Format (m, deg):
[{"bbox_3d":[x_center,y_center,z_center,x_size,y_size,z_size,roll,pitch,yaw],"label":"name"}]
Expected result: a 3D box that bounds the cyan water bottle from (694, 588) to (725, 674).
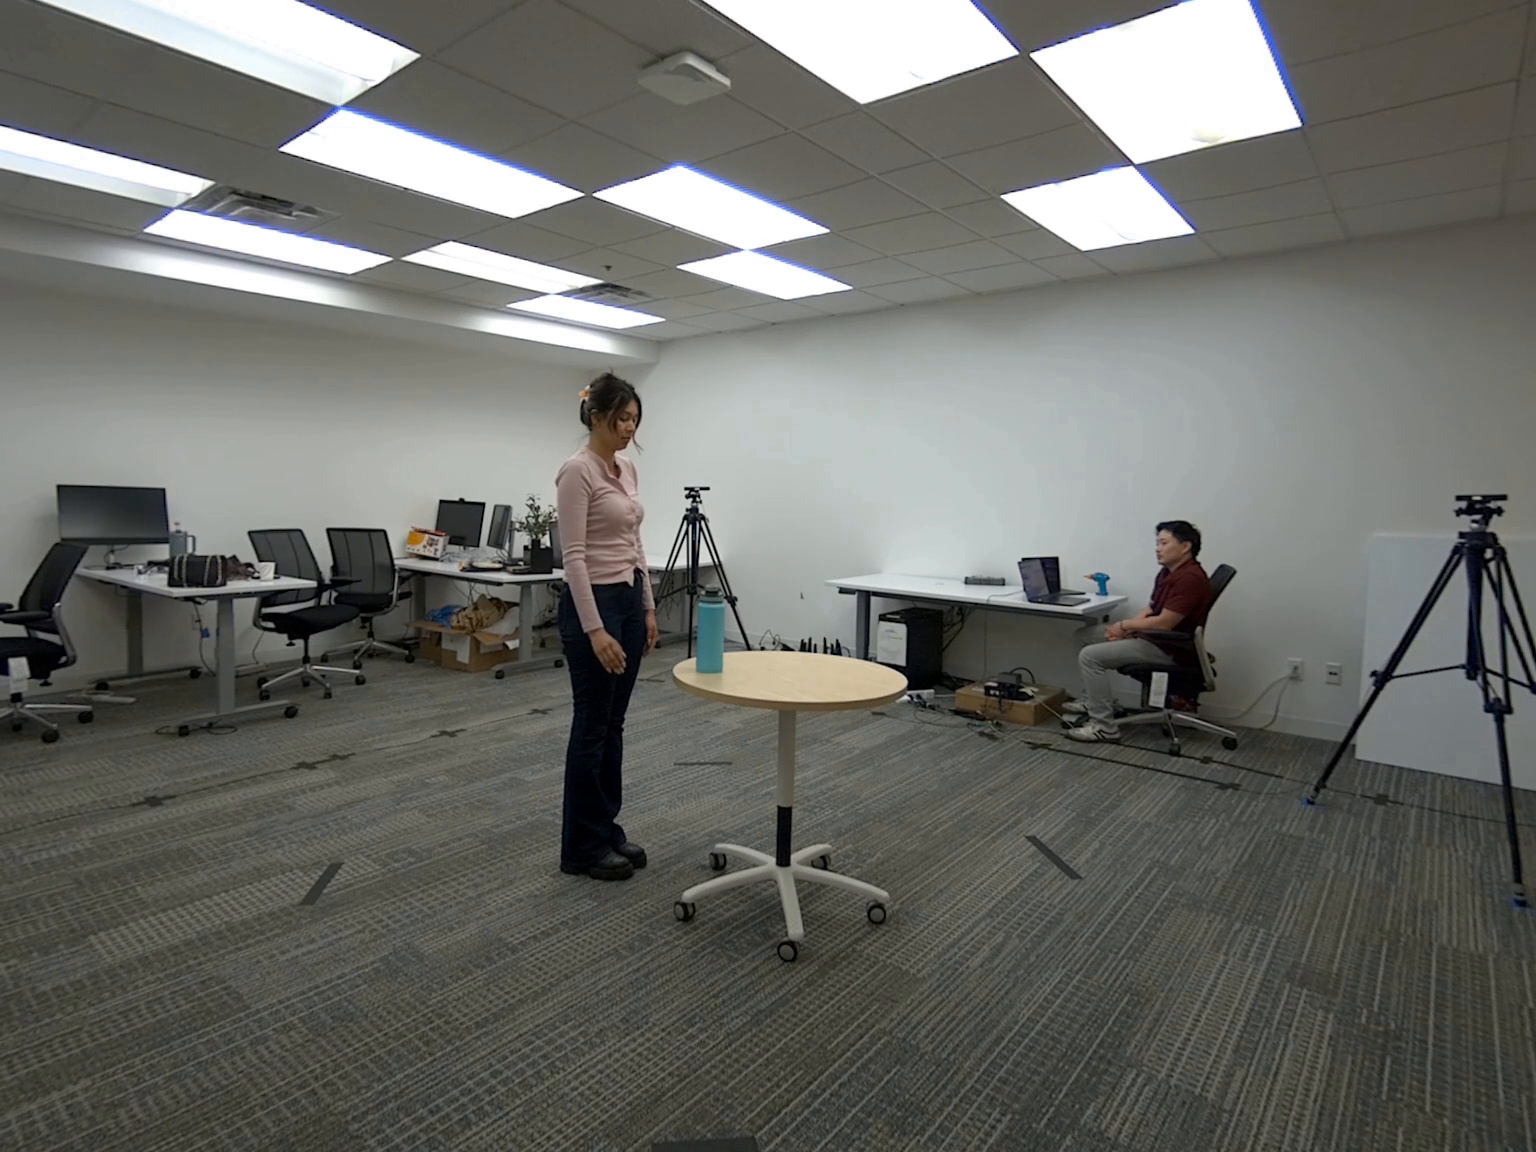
[{"bbox_3d":[-0.197,0.173,2.793,0.092,0.282,0.093,2,5,-2],"label":"cyan water bottle"}]
